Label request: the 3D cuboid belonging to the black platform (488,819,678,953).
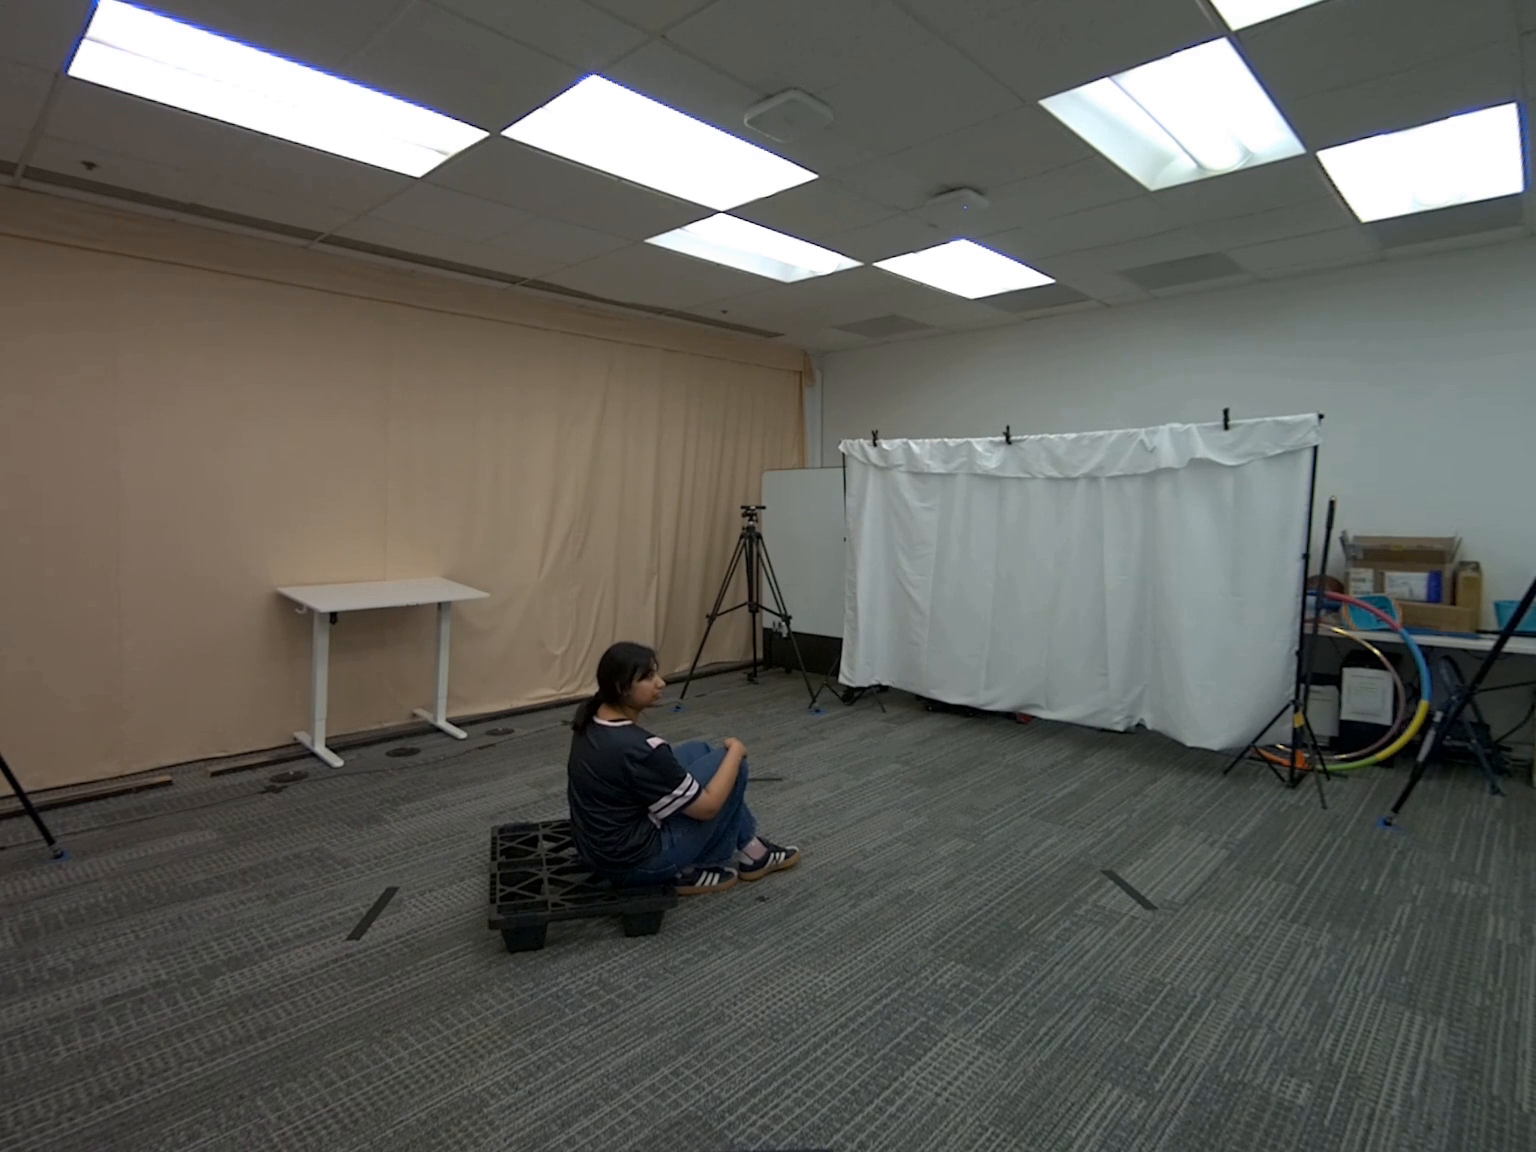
[{"bbox_3d":[-0.696,1.077,3.038,0.596,0.143,0.820,-2,5,-16],"label":"black platform"}]
